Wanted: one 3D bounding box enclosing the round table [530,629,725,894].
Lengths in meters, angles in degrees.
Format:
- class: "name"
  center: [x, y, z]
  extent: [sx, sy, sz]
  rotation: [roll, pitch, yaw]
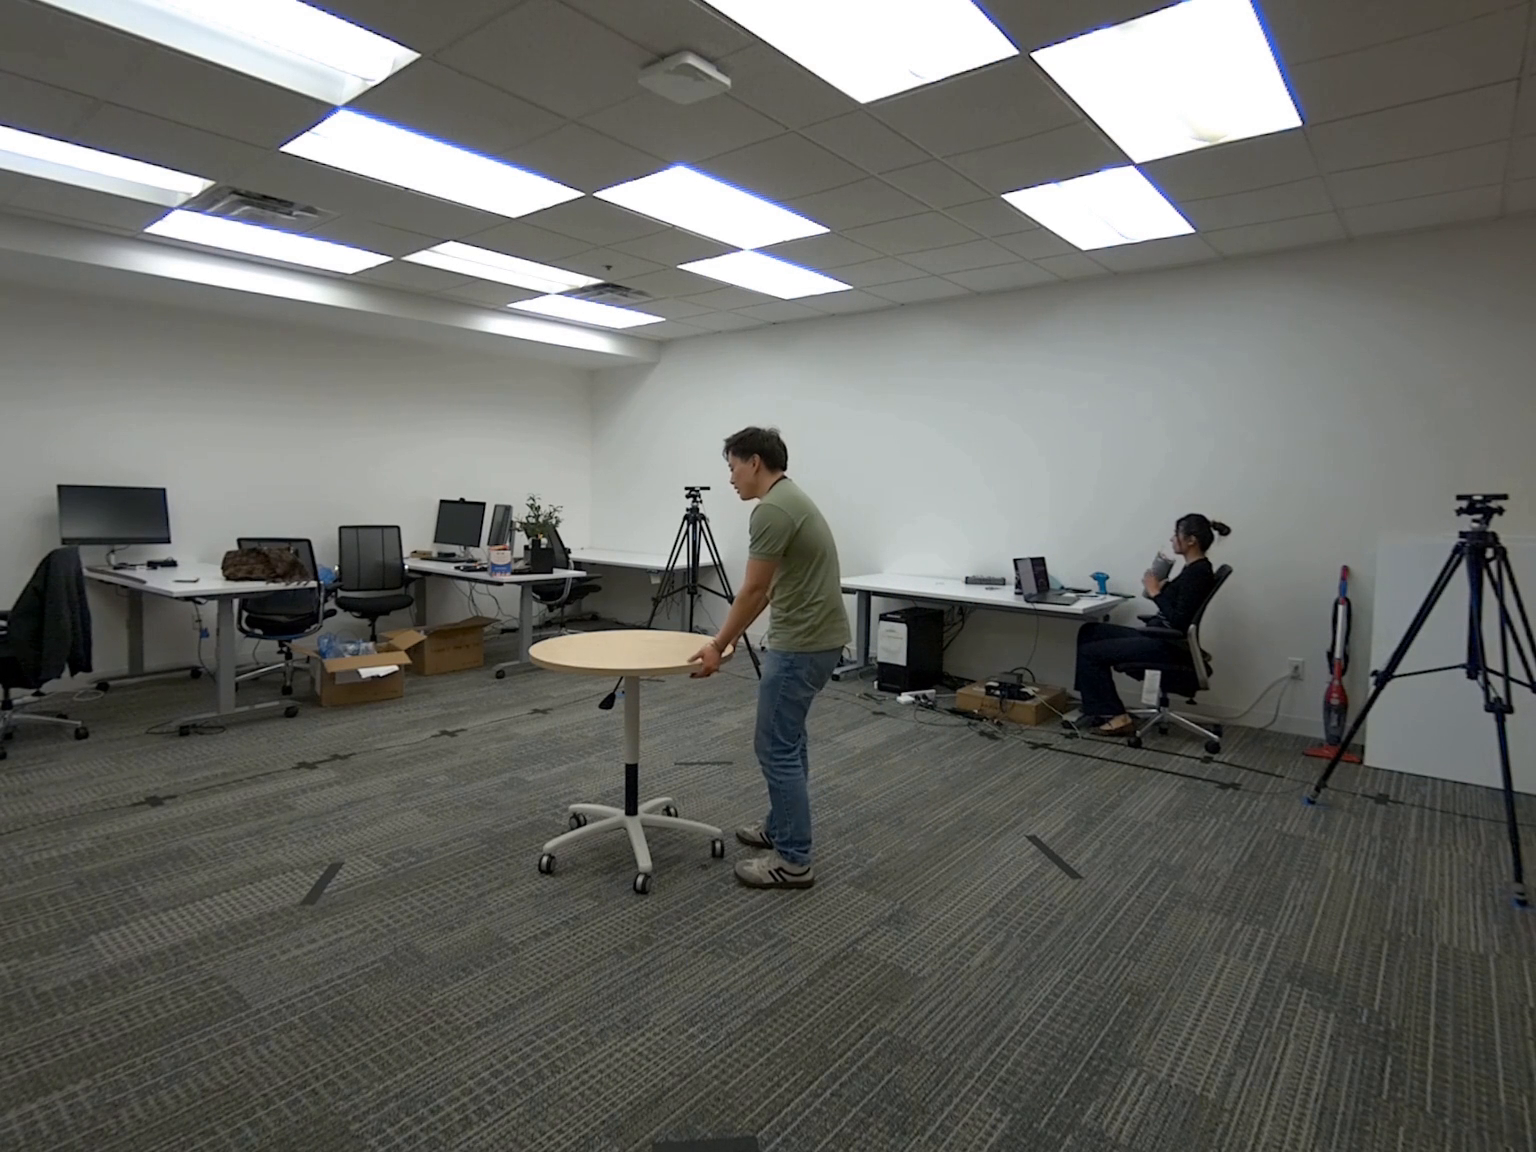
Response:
- class: "round table"
  center: [-0.532, 0.662, 3.236]
  extent: [0.763, 0.791, 0.768]
  rotation: [1, 4, -2]
